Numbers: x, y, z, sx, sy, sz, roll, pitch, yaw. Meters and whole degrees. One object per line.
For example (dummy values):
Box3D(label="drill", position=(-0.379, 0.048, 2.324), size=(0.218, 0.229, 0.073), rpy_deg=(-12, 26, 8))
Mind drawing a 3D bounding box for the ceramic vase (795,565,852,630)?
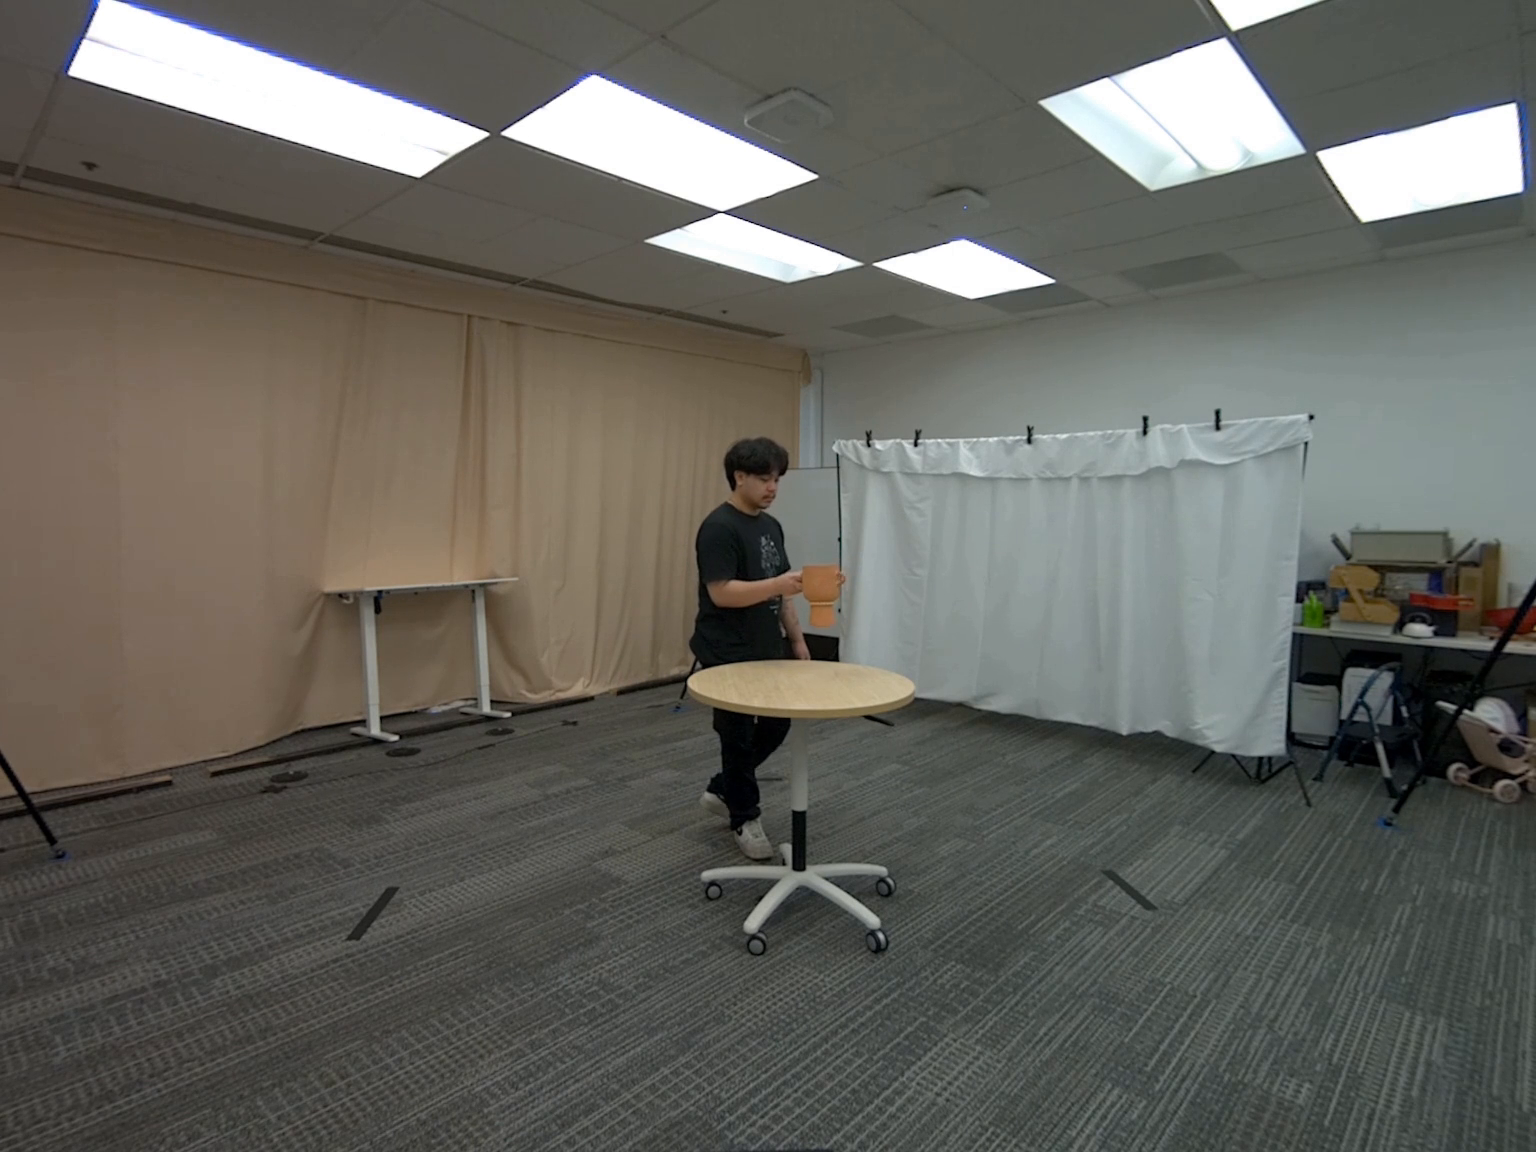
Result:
Box3D(label="ceramic vase", position=(0.195, 0.070, 3.029), size=(0.131, 0.220, 0.163), rpy_deg=(0, 0, -27))
